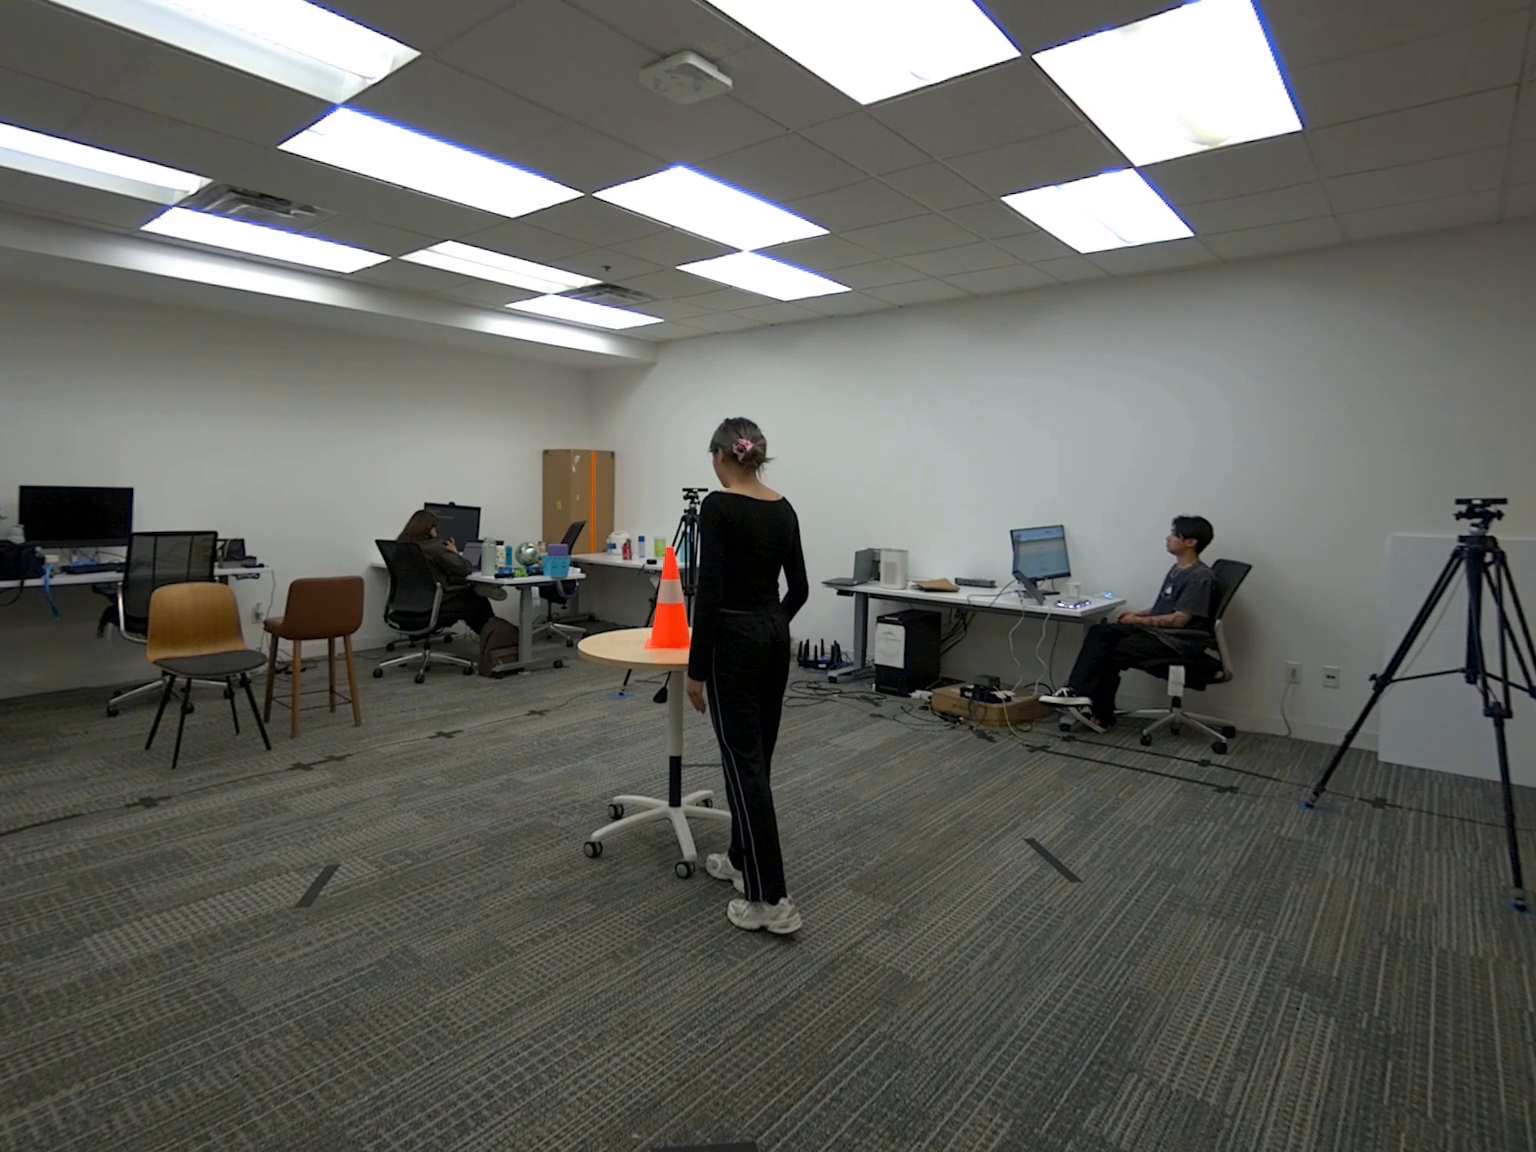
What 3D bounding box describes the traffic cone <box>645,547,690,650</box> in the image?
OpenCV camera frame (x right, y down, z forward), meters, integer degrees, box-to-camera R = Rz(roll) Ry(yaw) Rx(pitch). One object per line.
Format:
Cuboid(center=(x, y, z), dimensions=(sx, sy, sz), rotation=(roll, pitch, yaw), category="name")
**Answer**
Cuboid(center=(-0.398, 0.076, 3.296), dimensions=(0.205, 0.382, 0.204), rotation=(-1, 4, -1), category="traffic cone")
